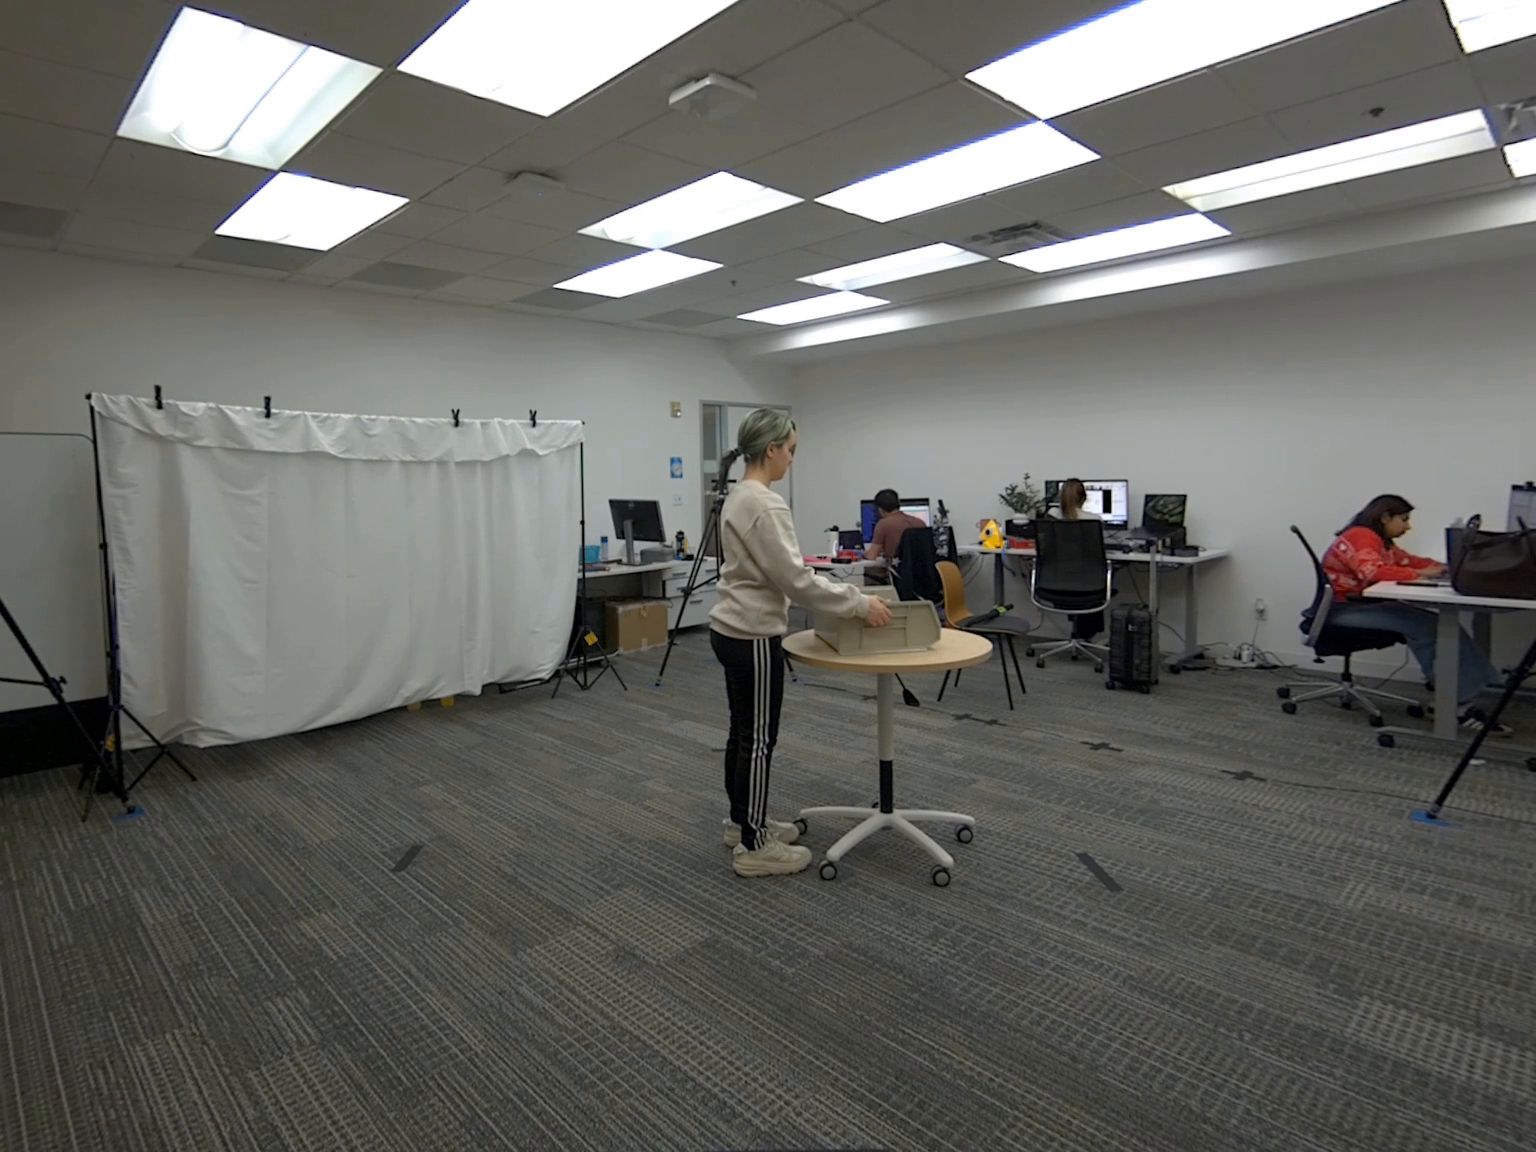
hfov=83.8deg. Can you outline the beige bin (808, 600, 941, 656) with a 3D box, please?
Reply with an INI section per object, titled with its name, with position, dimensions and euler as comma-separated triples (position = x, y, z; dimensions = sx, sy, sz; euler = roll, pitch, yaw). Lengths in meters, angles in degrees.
[beige bin]
position = 0.386, 0.157, 3.170
dimensions = 0.374, 0.188, 0.428
euler = -3, 7, -9
